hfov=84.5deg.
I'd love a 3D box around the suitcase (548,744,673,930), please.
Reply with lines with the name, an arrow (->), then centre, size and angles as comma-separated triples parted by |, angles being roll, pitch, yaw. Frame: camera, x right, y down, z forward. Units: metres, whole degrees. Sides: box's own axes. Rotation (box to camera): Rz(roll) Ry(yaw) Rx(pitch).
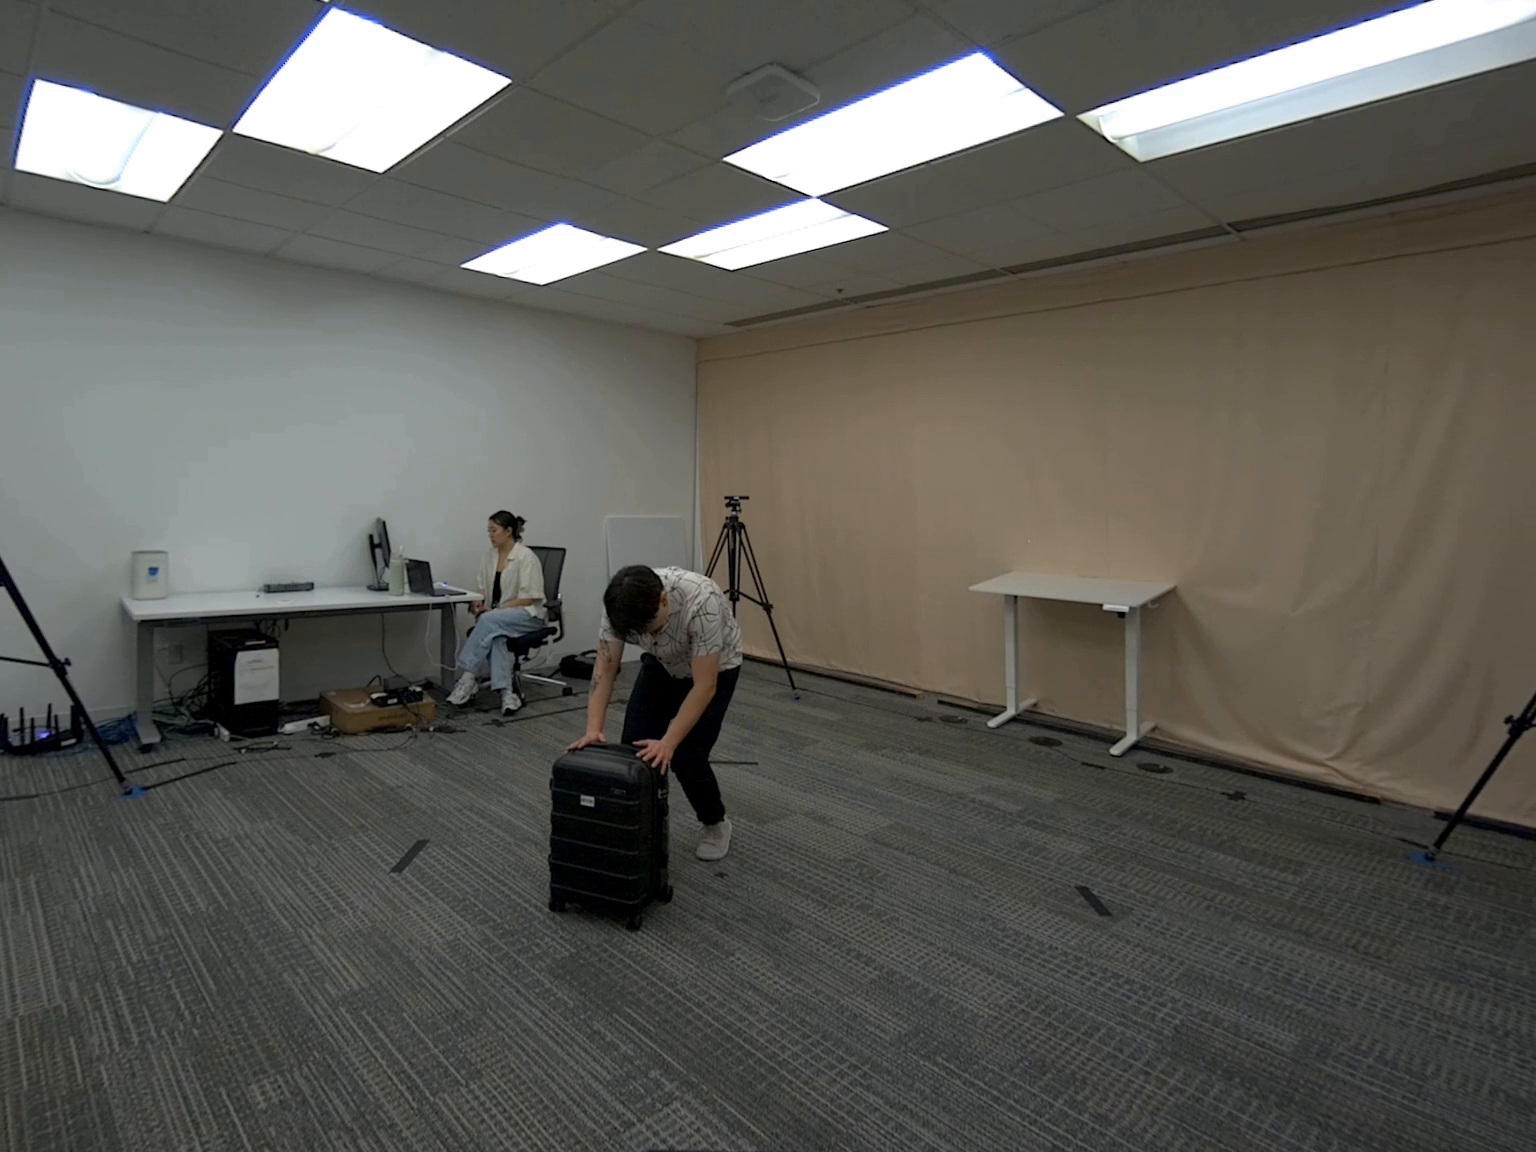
suitcase -> -0.535, 0.850, 2.817 | 0.382, 0.547, 0.245 | 3, 6, 23
